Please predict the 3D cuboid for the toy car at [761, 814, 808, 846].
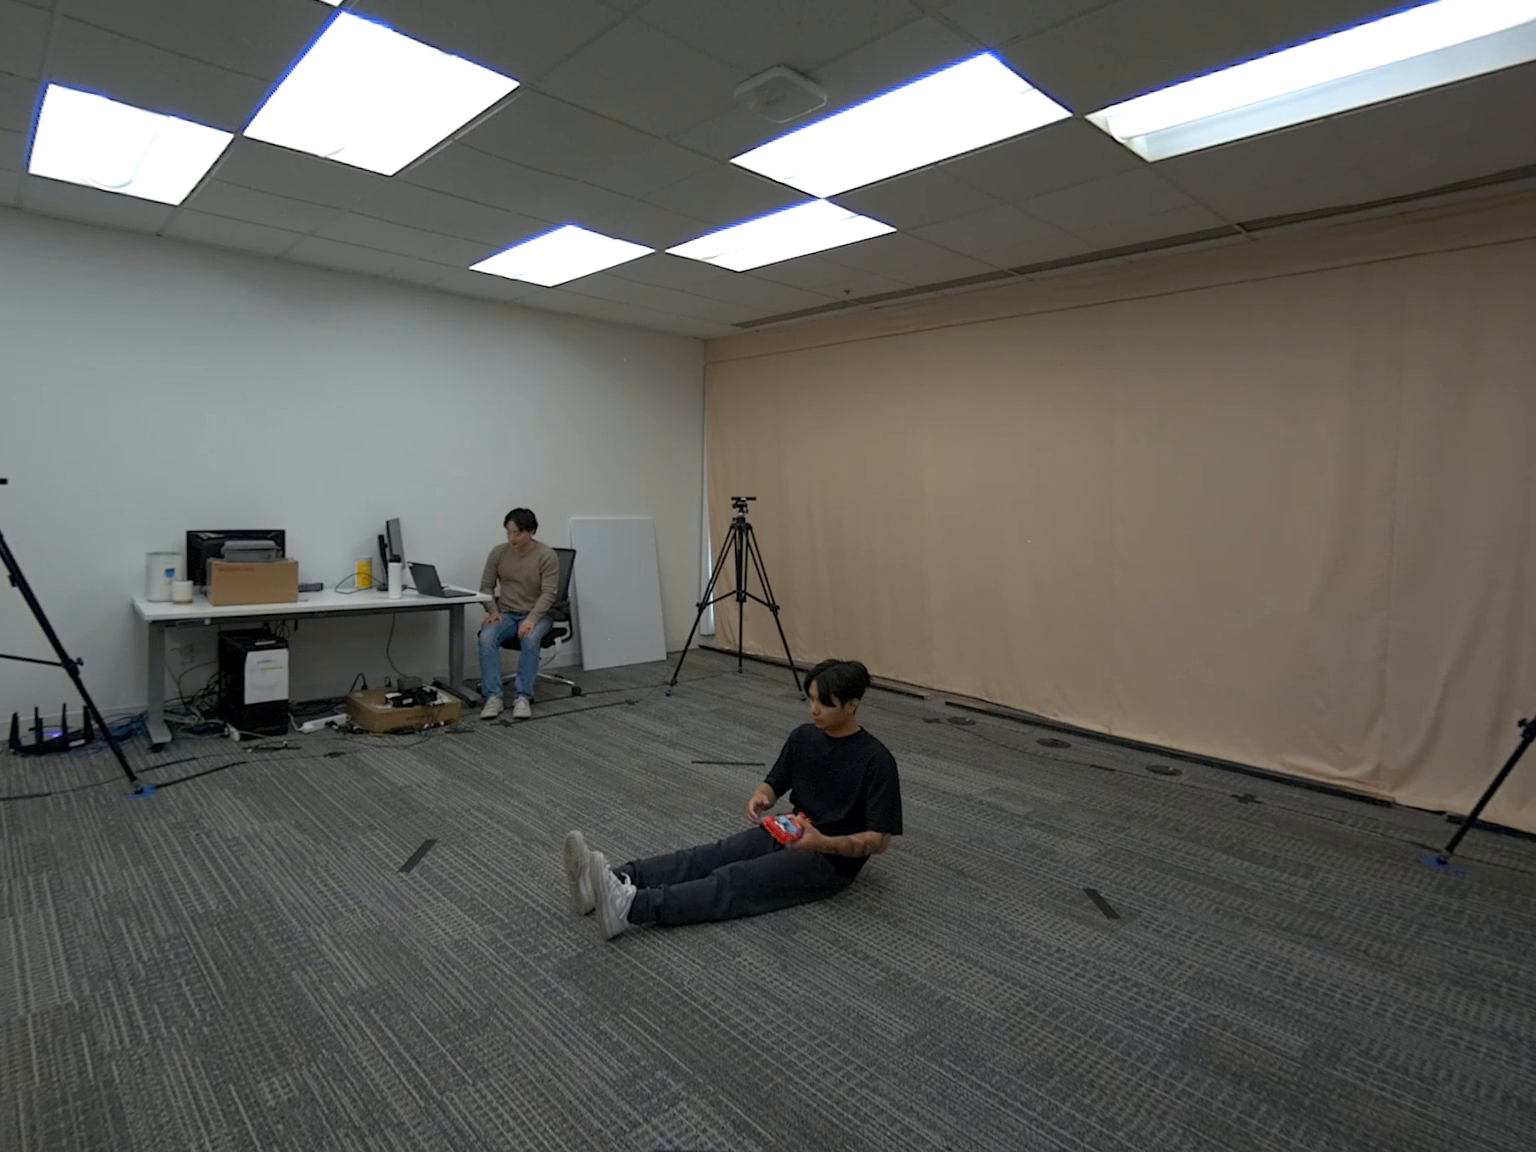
[{"bbox_3d":[0.075,0.843,2.793,0.134,0.083,0.248,35,14,30],"label":"toy car"}]
